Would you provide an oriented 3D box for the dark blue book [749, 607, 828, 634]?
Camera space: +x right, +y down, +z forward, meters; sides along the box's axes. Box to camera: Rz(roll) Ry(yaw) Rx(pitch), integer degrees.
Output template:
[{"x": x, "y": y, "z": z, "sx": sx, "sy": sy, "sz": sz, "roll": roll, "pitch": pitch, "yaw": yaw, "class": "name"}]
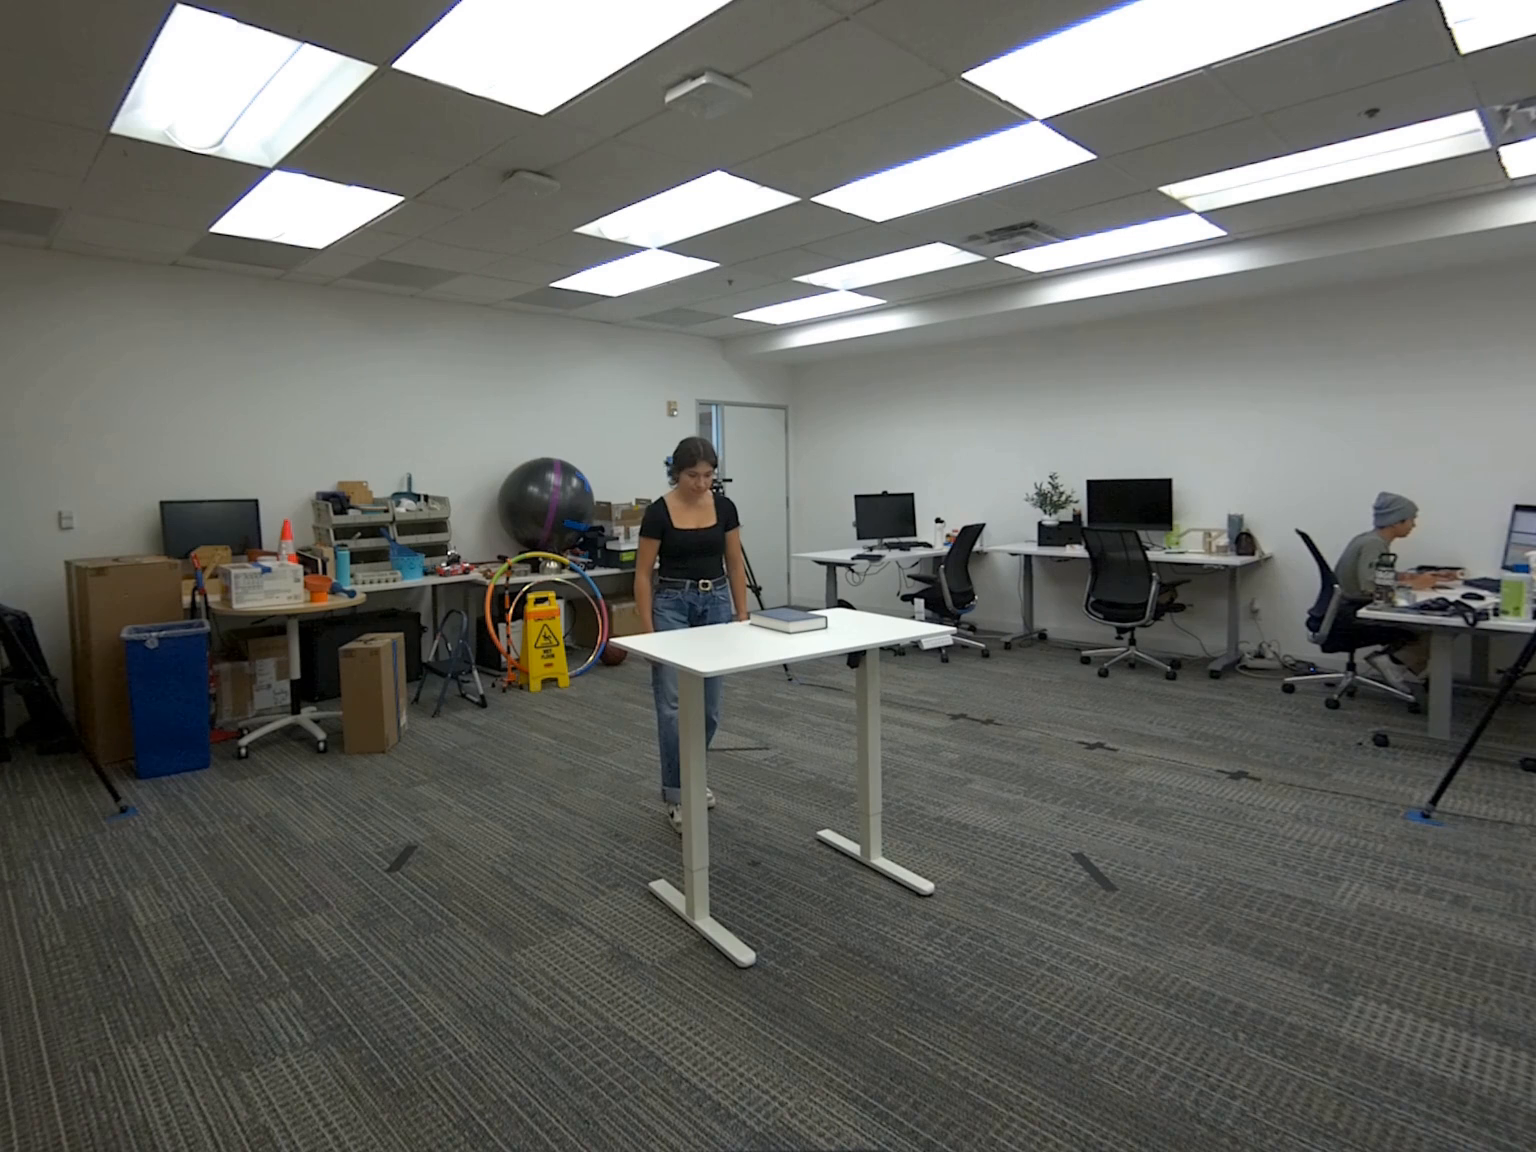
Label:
[{"x": 0.071, "y": 0.157, "z": 2.972, "sx": 0.159, "sy": 0.045, "sz": 0.252, "roll": -5, "pitch": 8, "yaw": -33, "class": "dark blue book"}]
